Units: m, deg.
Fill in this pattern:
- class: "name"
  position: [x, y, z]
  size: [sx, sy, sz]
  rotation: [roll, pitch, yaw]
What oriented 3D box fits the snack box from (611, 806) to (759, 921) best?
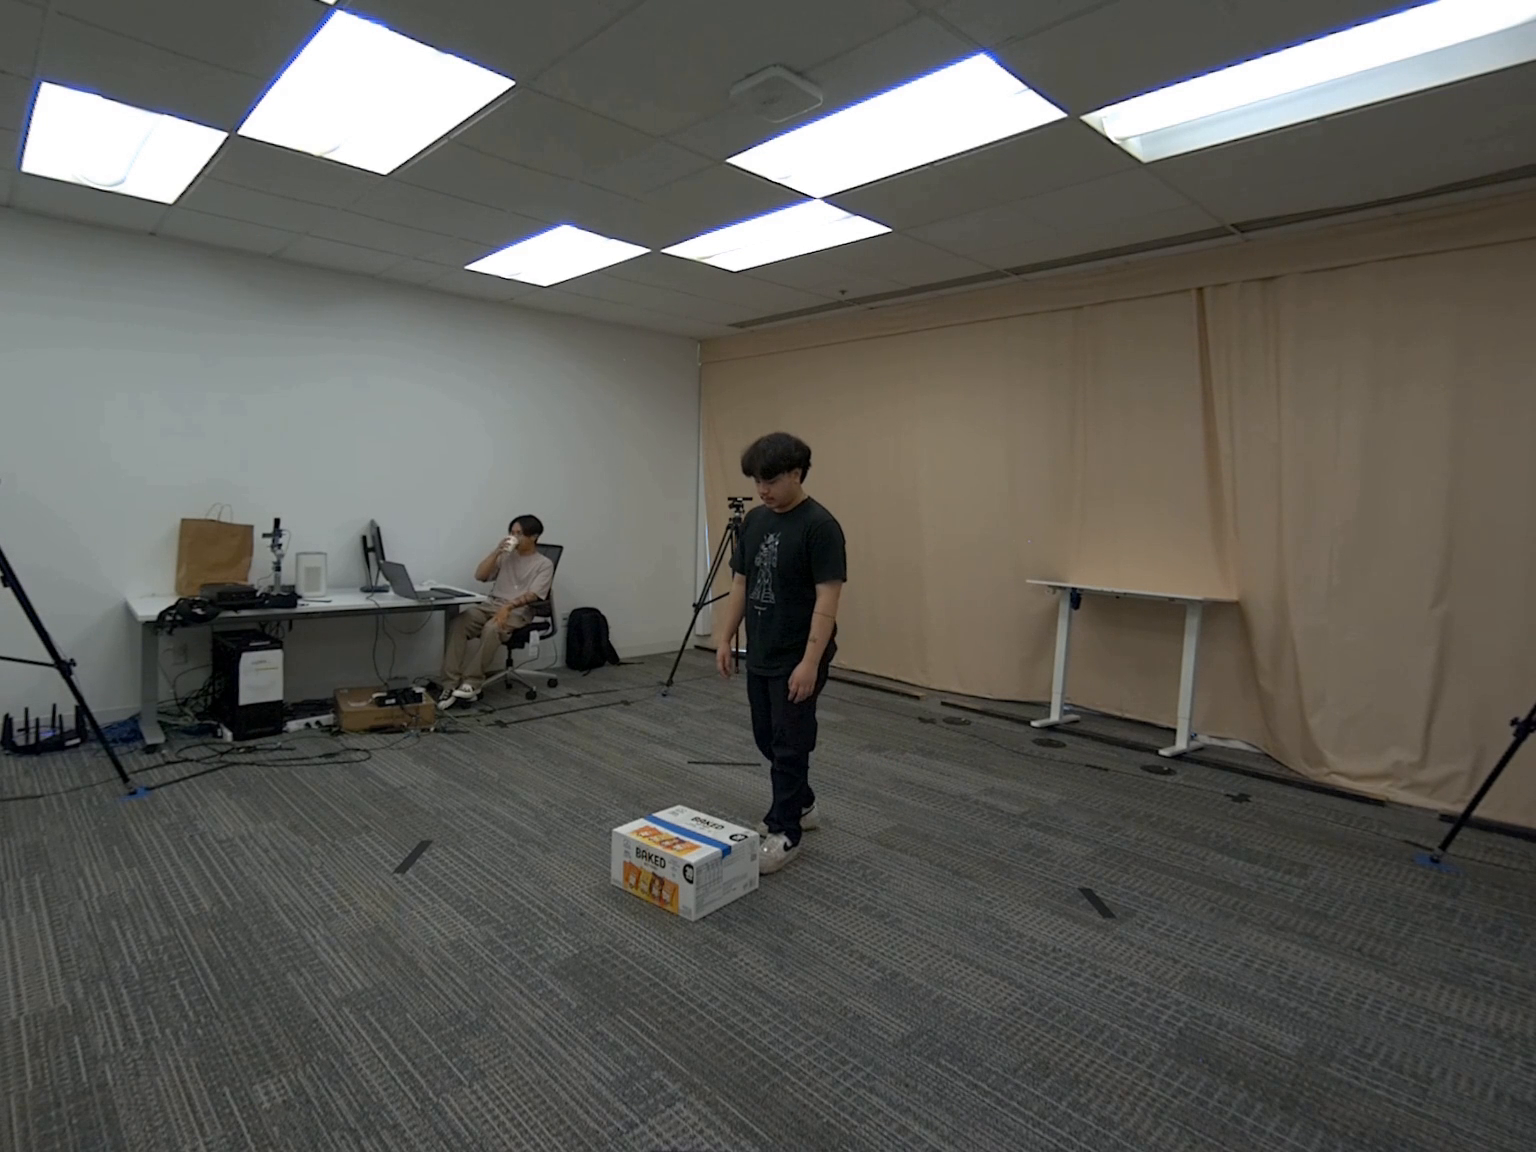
- class: "snack box"
  position: [-0.301, 1.012, 3.000]
  size: [0.415, 0.205, 0.333]
  rotation: [5, 6, 39]
